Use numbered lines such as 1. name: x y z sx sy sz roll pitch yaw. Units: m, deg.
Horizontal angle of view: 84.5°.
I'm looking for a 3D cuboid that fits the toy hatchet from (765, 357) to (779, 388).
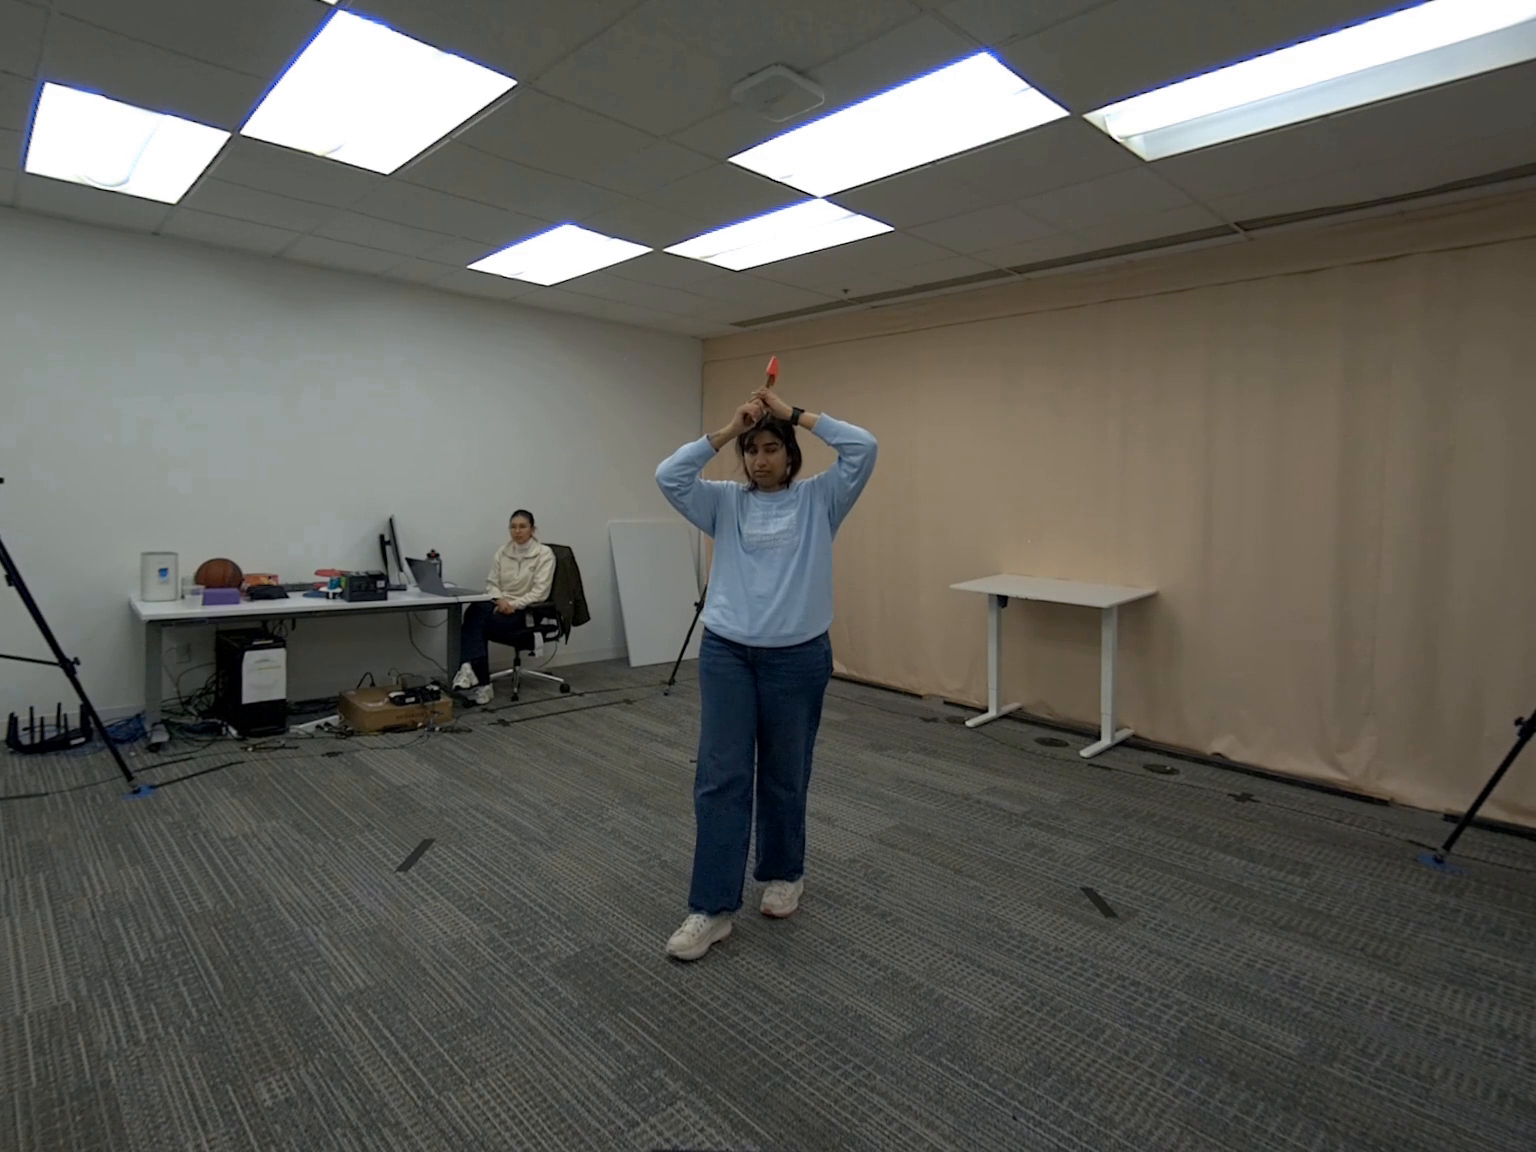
1. toy hatchet: -0.020 -0.587 2.604 0.030 0.129 0.272 21 45 6
